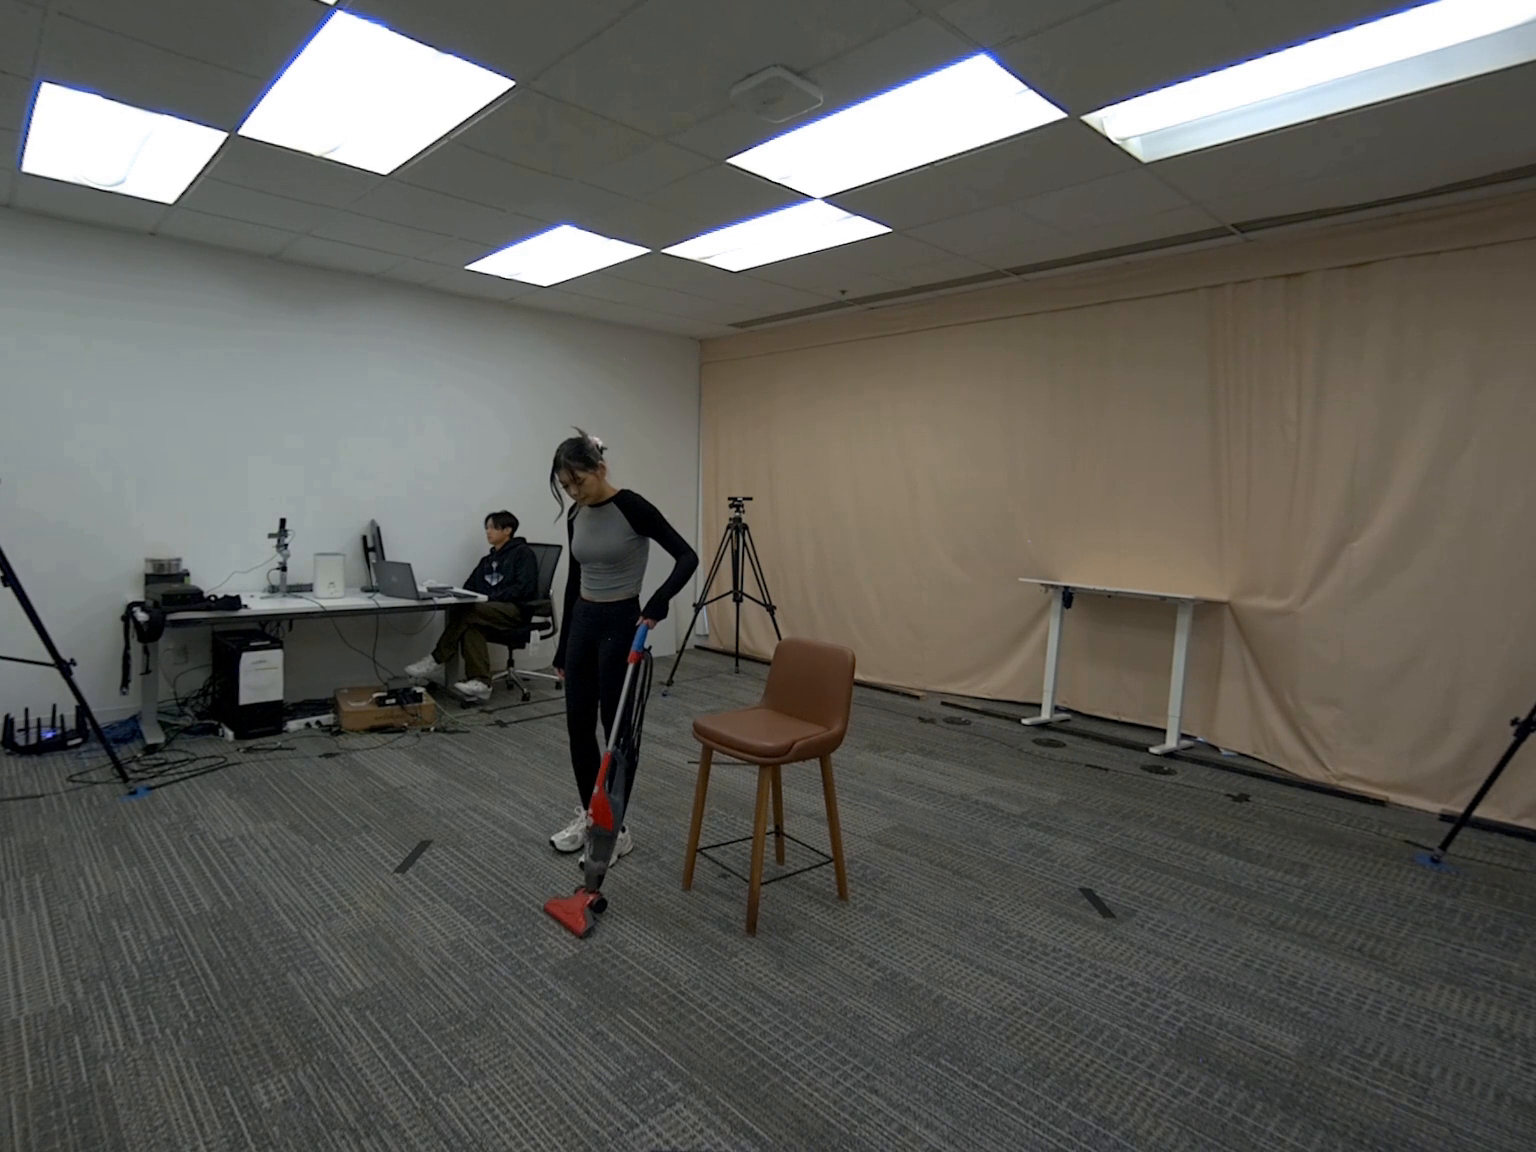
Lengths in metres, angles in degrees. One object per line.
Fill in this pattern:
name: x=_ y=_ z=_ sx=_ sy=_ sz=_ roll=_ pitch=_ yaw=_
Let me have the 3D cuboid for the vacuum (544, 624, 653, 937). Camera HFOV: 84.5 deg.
vacuum: x=-0.507 y=0.610 z=2.854 sx=0.259 sy=1.055 sz=0.139 roll=5 pitch=-14 yaw=40
